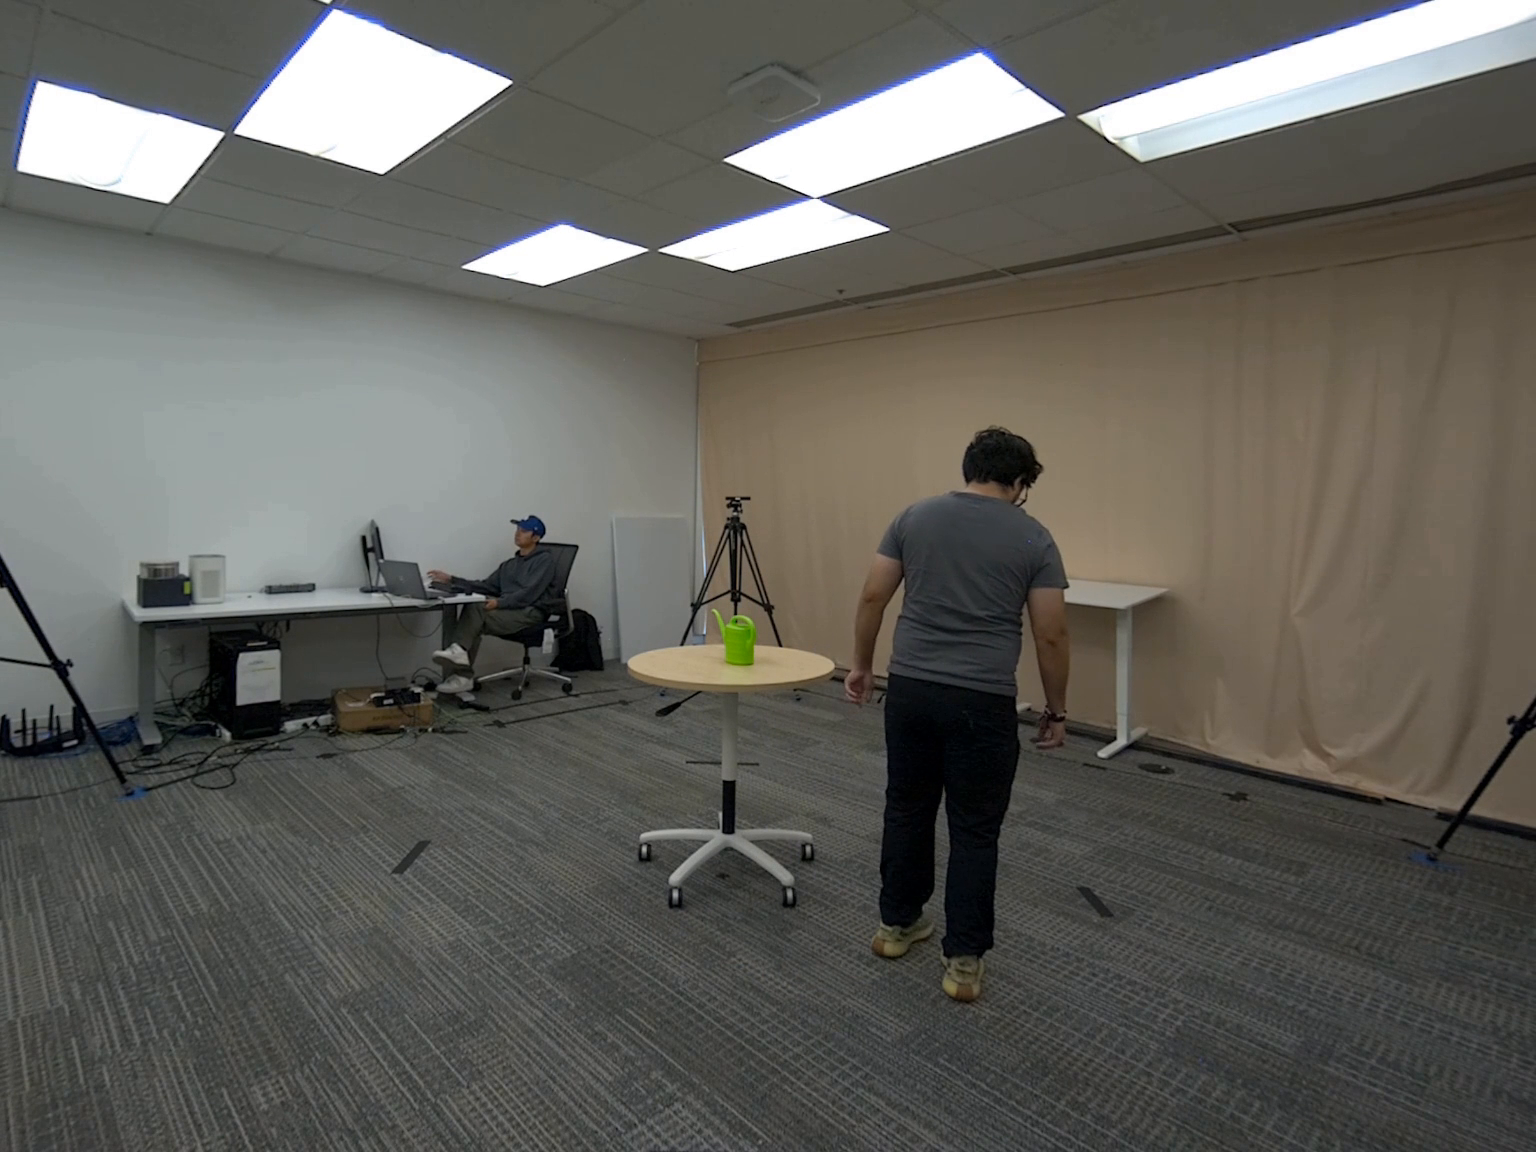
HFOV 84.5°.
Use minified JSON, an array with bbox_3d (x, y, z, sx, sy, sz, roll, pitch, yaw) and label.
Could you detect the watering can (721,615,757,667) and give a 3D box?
[{"bbox_3d":[-0.130,0.230,3.157,0.096,0.176,0.283,-1,6,-21],"label":"watering can"}]
